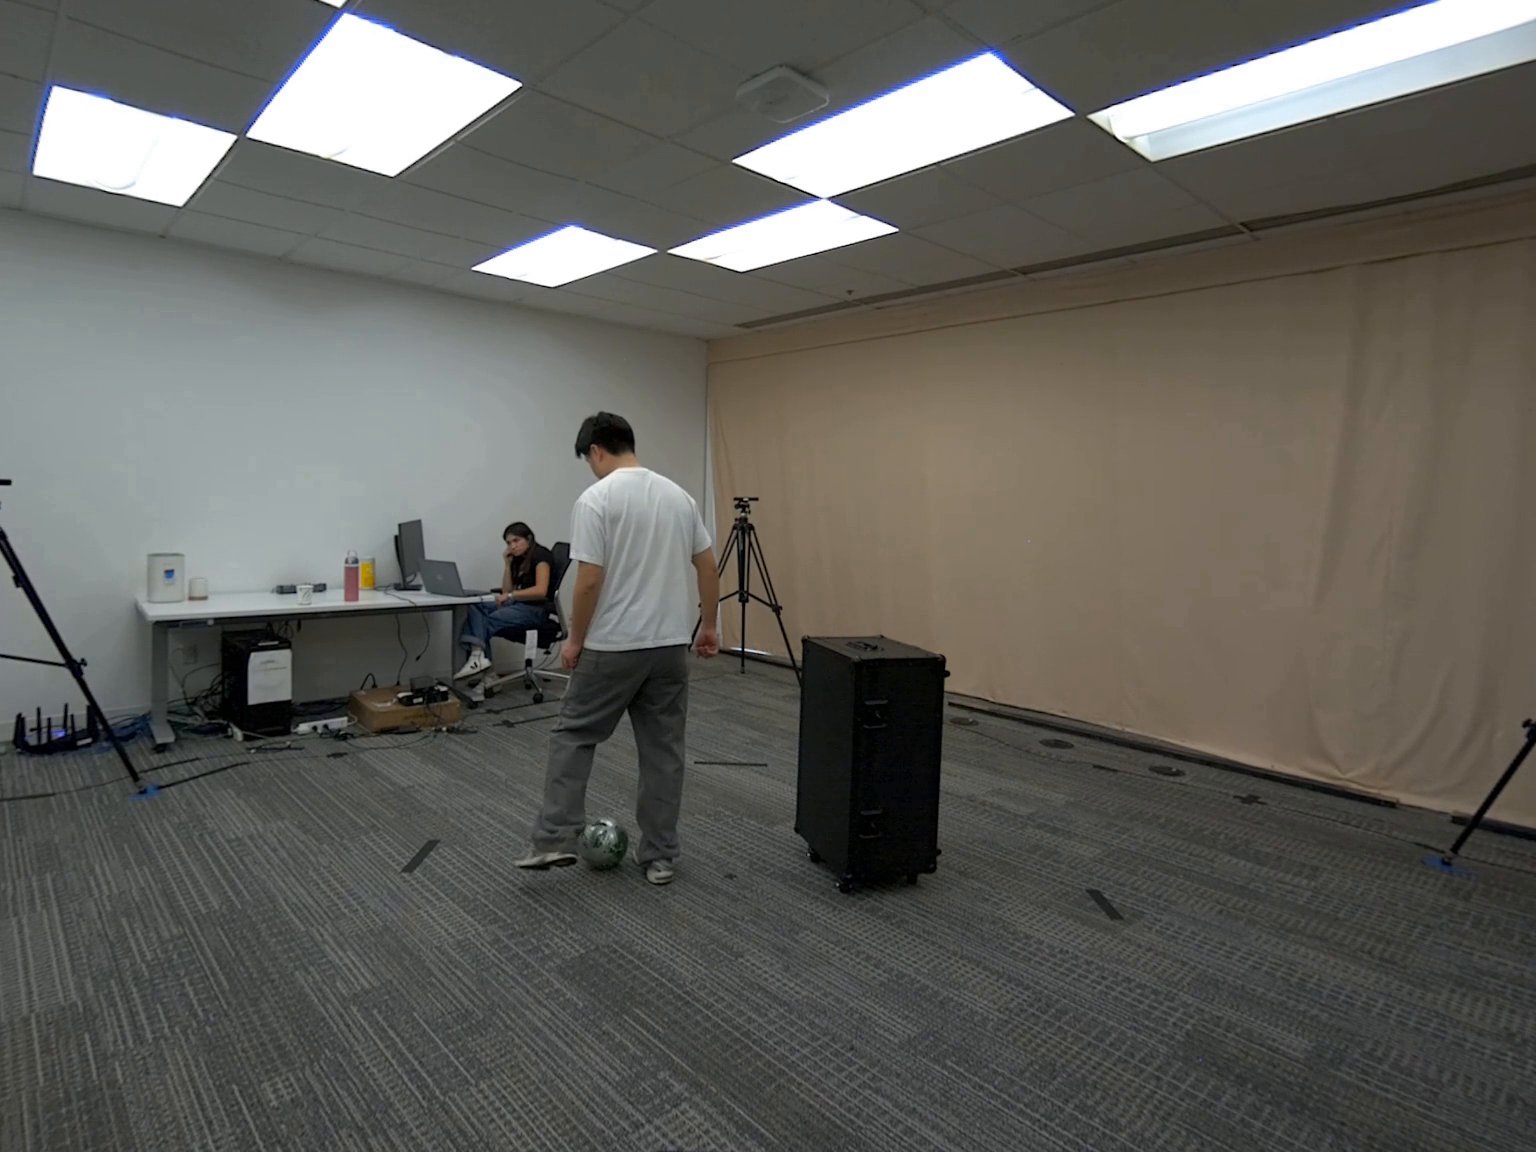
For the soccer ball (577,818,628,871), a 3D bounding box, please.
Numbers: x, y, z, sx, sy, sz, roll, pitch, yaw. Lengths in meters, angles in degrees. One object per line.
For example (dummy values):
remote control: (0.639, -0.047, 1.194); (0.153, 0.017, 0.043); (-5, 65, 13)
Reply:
soccer ball: (-0.616, 0.998, 3.157); (0.187, 0.187, 0.188); (1, 4, -1)
